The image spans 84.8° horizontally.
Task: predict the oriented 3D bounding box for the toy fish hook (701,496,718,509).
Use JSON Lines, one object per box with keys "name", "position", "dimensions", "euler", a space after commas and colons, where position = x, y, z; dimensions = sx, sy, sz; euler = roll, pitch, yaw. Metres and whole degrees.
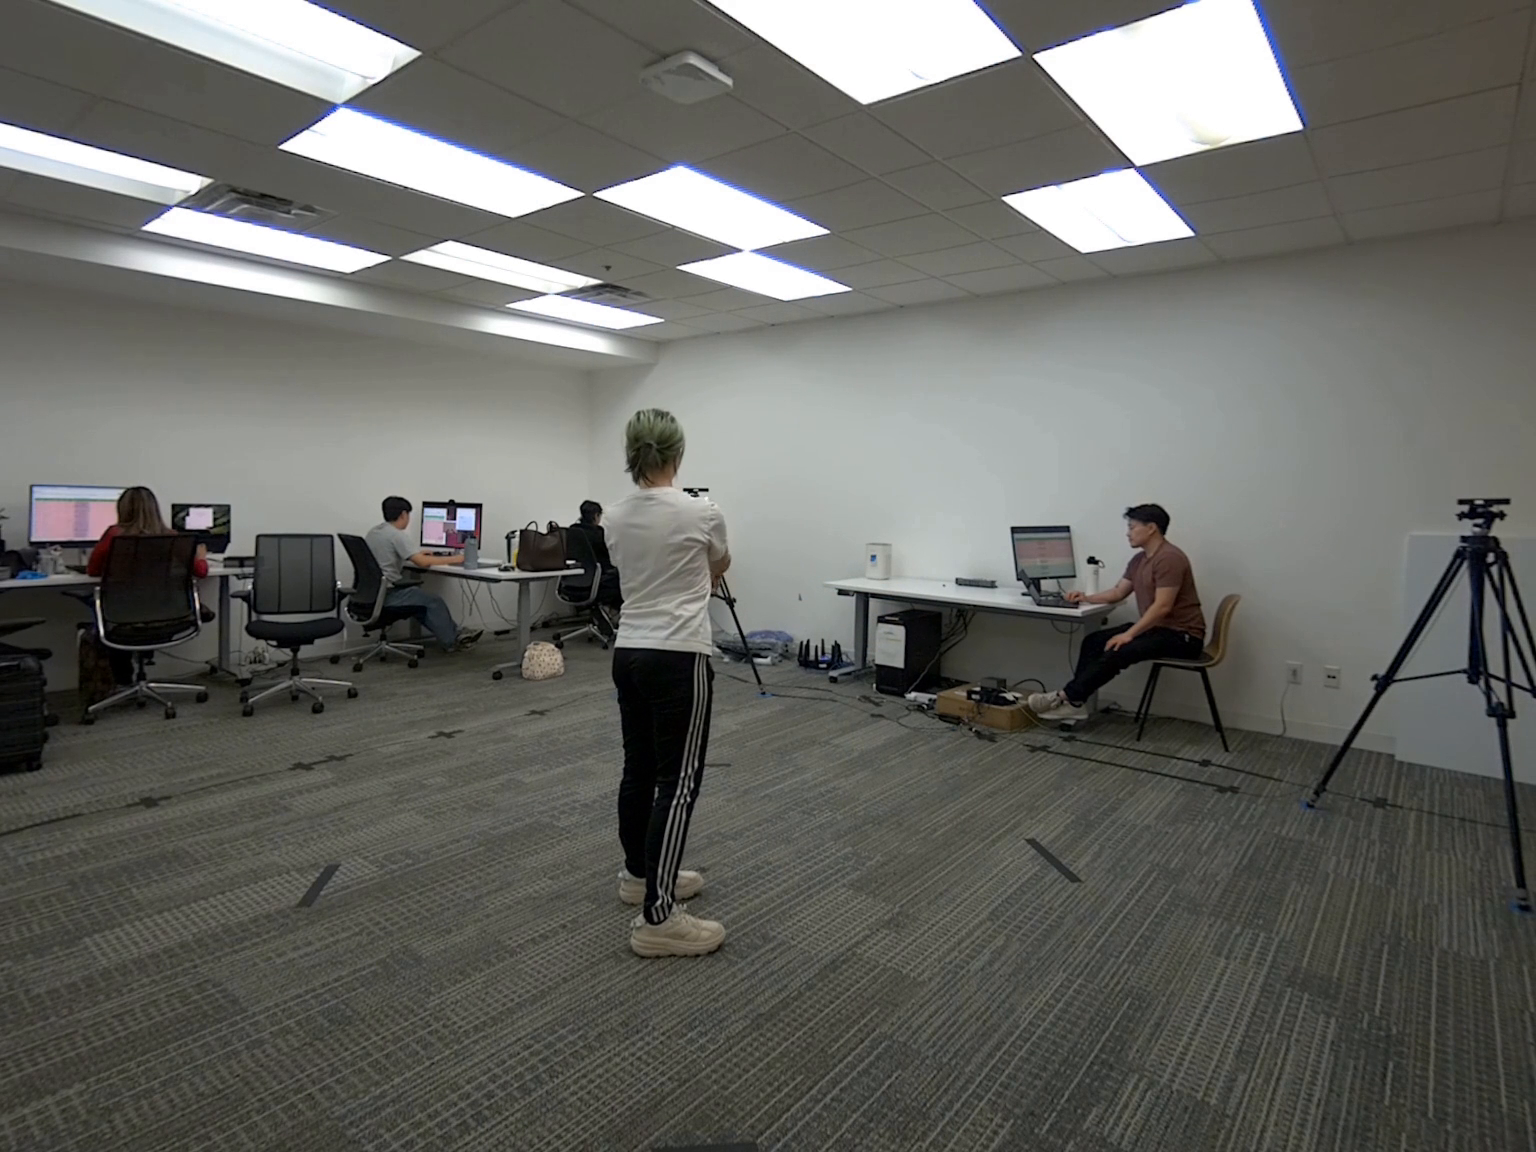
{"name": "toy fish hook", "position": [-0.197, -0.088, 3.317], "dimensions": [0.049, 0.522, 0.215], "euler": [-15, -40, 12]}
